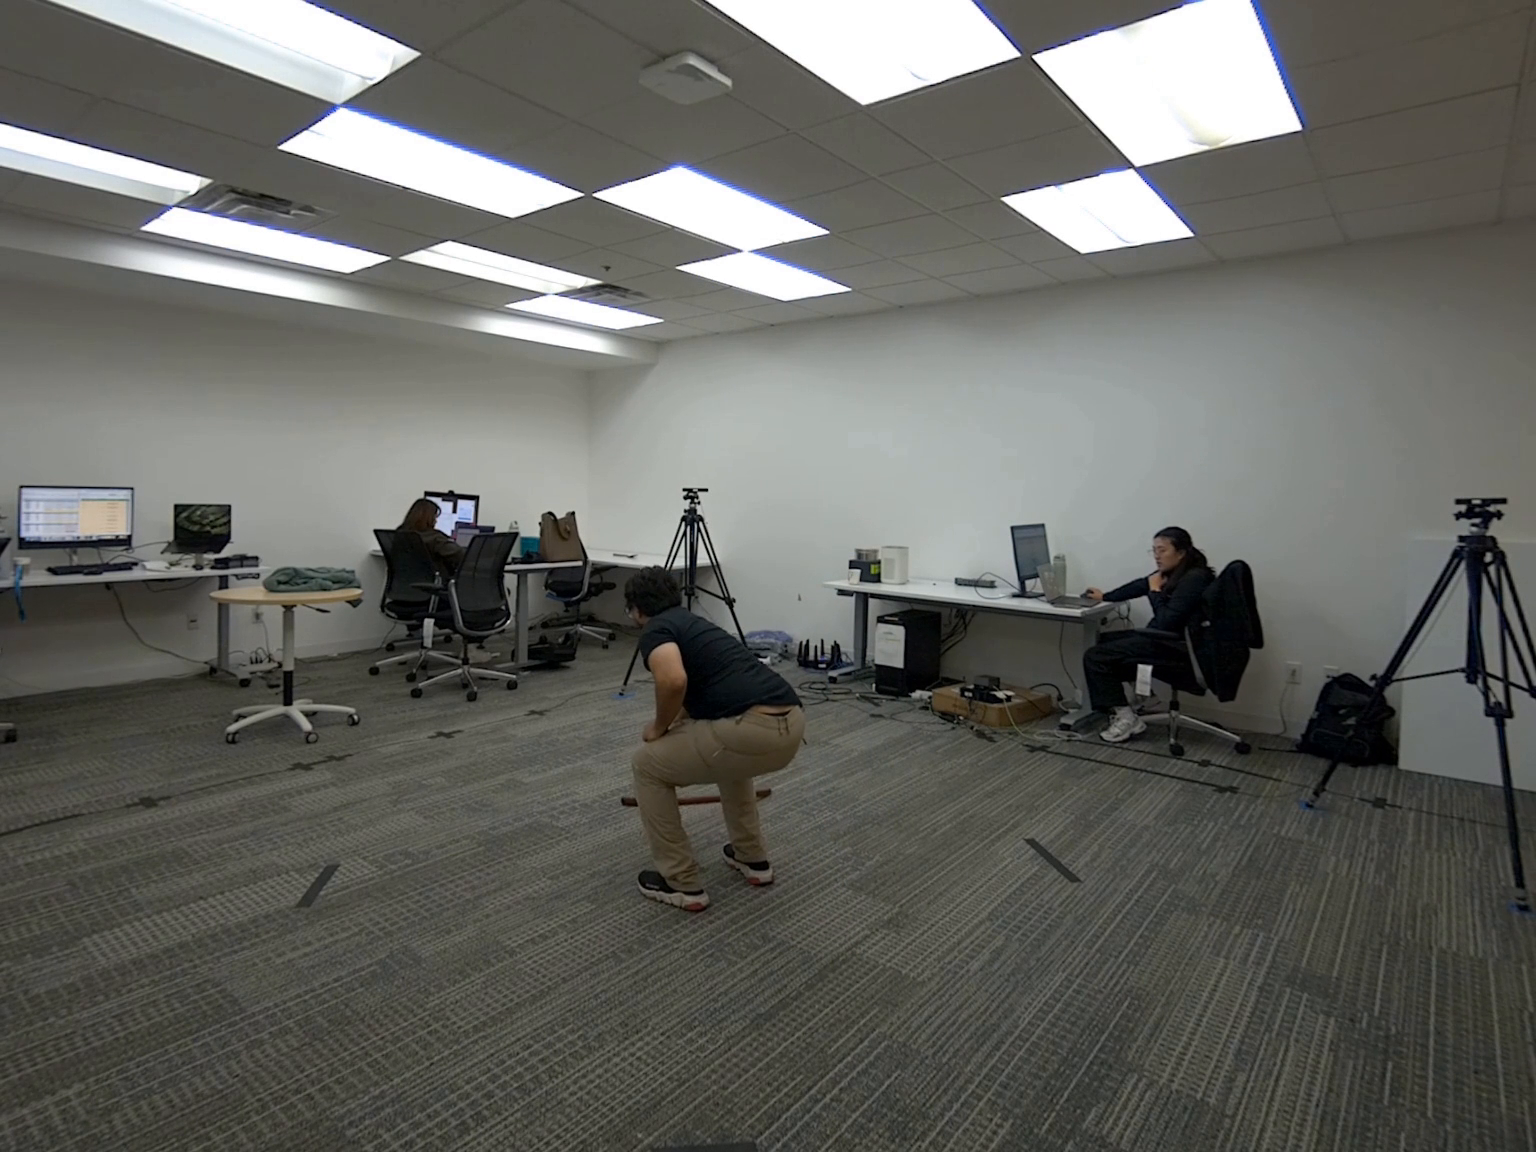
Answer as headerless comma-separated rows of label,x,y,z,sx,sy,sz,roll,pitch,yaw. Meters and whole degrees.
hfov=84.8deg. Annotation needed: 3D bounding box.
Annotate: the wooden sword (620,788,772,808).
wooden sword,-0.268,0.915,3.503,0.053,0.024,0.988,8,-3,34
